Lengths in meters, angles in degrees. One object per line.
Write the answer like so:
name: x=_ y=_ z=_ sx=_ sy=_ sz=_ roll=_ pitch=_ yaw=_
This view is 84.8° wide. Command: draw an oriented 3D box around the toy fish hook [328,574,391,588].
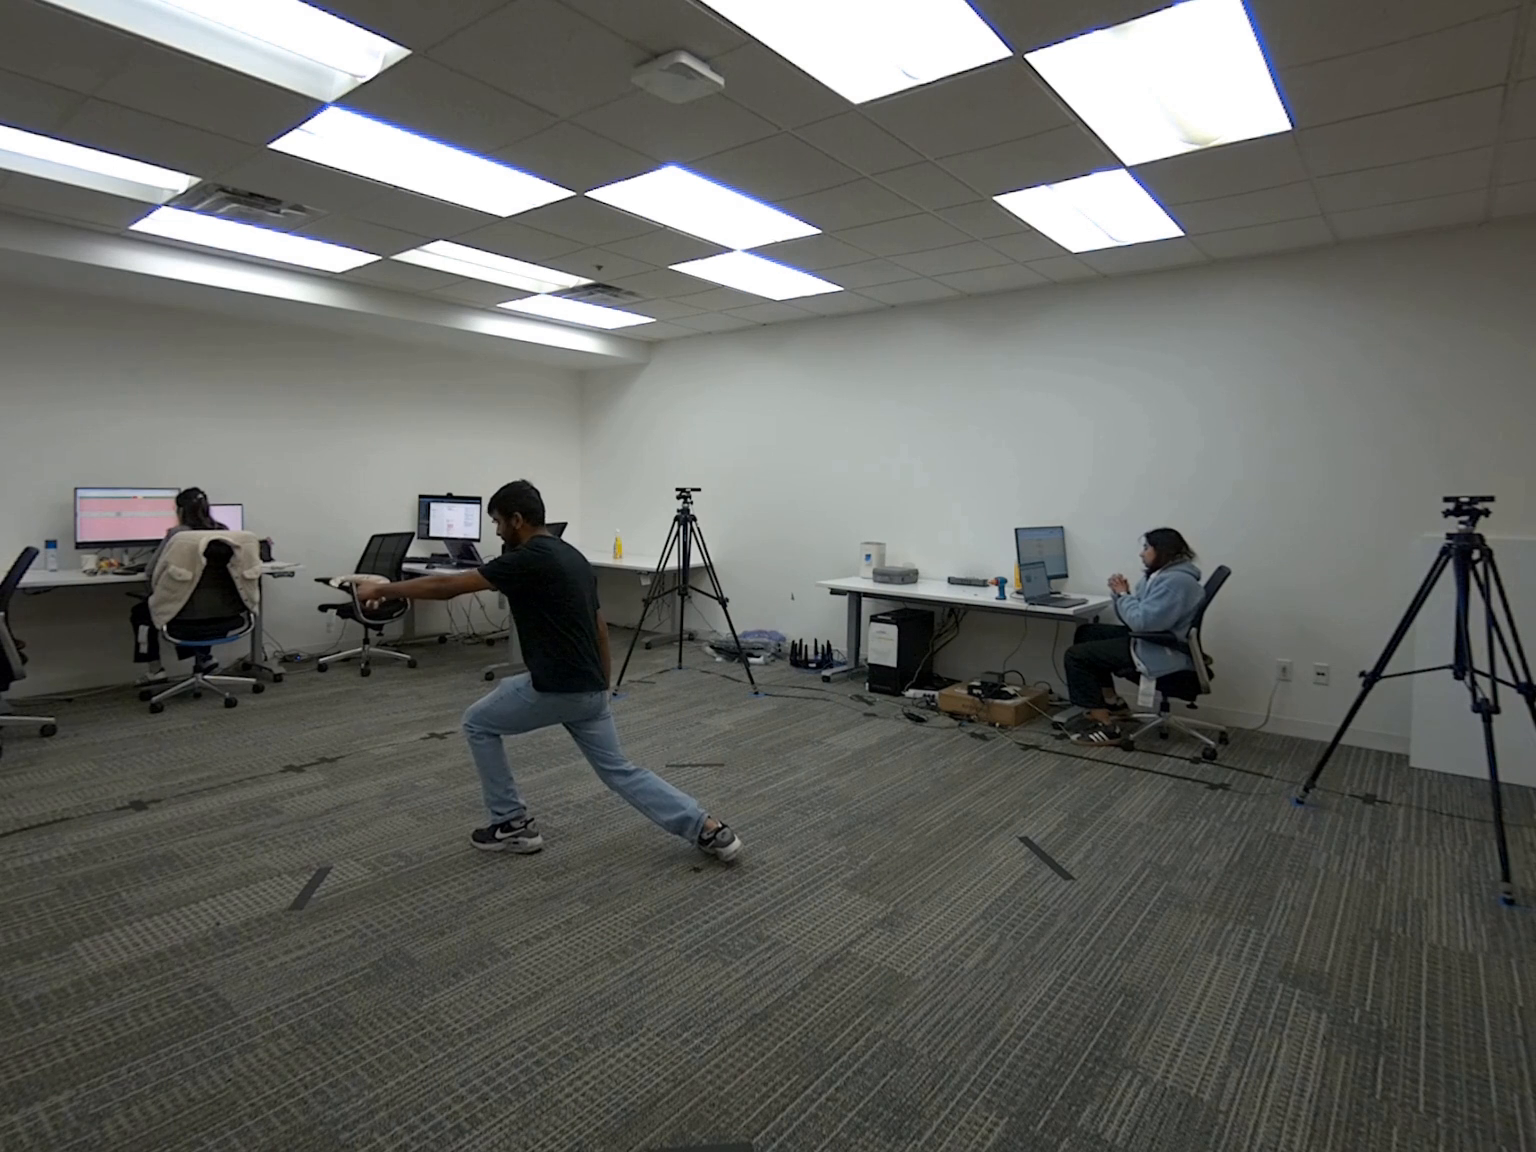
toy fish hook: x=-1.579 y=0.057 z=3.280 sx=0.219 sy=0.048 sz=0.522 roll=0 pitch=8 yaw=-27
